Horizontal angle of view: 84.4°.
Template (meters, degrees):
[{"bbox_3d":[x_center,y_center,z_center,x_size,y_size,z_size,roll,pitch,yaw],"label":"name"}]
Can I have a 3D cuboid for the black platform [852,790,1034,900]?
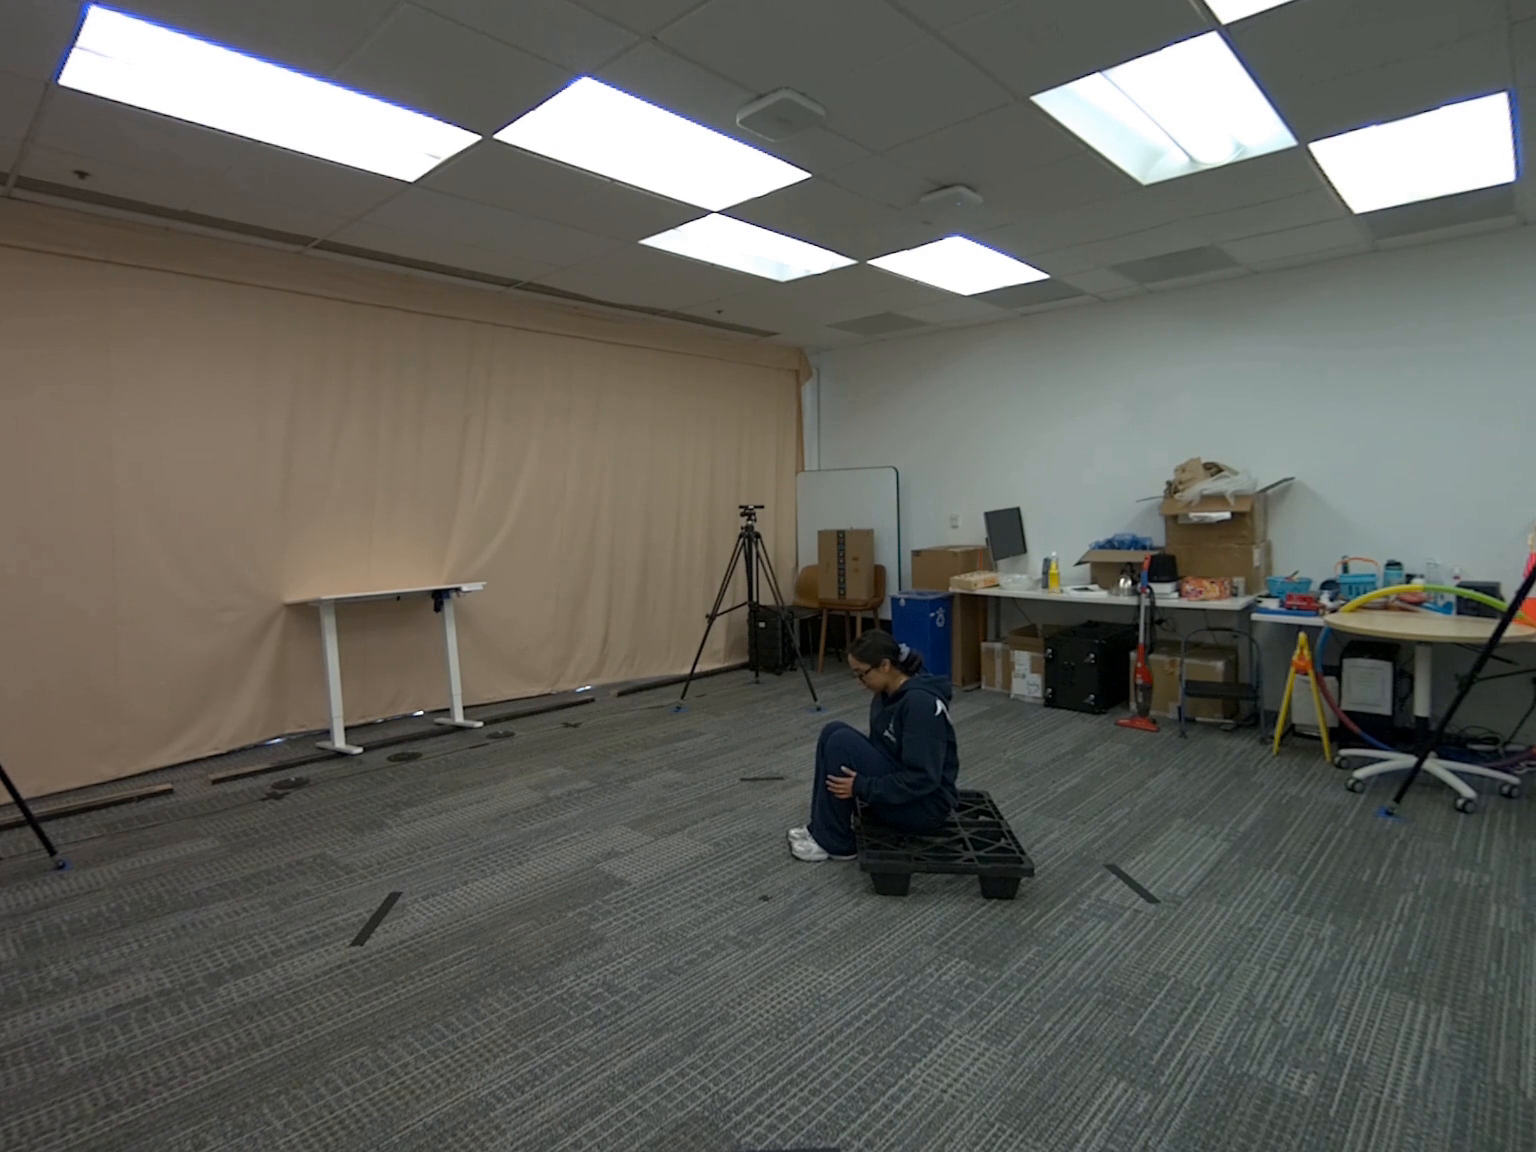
[{"bbox_3d":[0.651,1.035,3.315,0.608,0.143,0.803,0,5,4],"label":"black platform"}]
